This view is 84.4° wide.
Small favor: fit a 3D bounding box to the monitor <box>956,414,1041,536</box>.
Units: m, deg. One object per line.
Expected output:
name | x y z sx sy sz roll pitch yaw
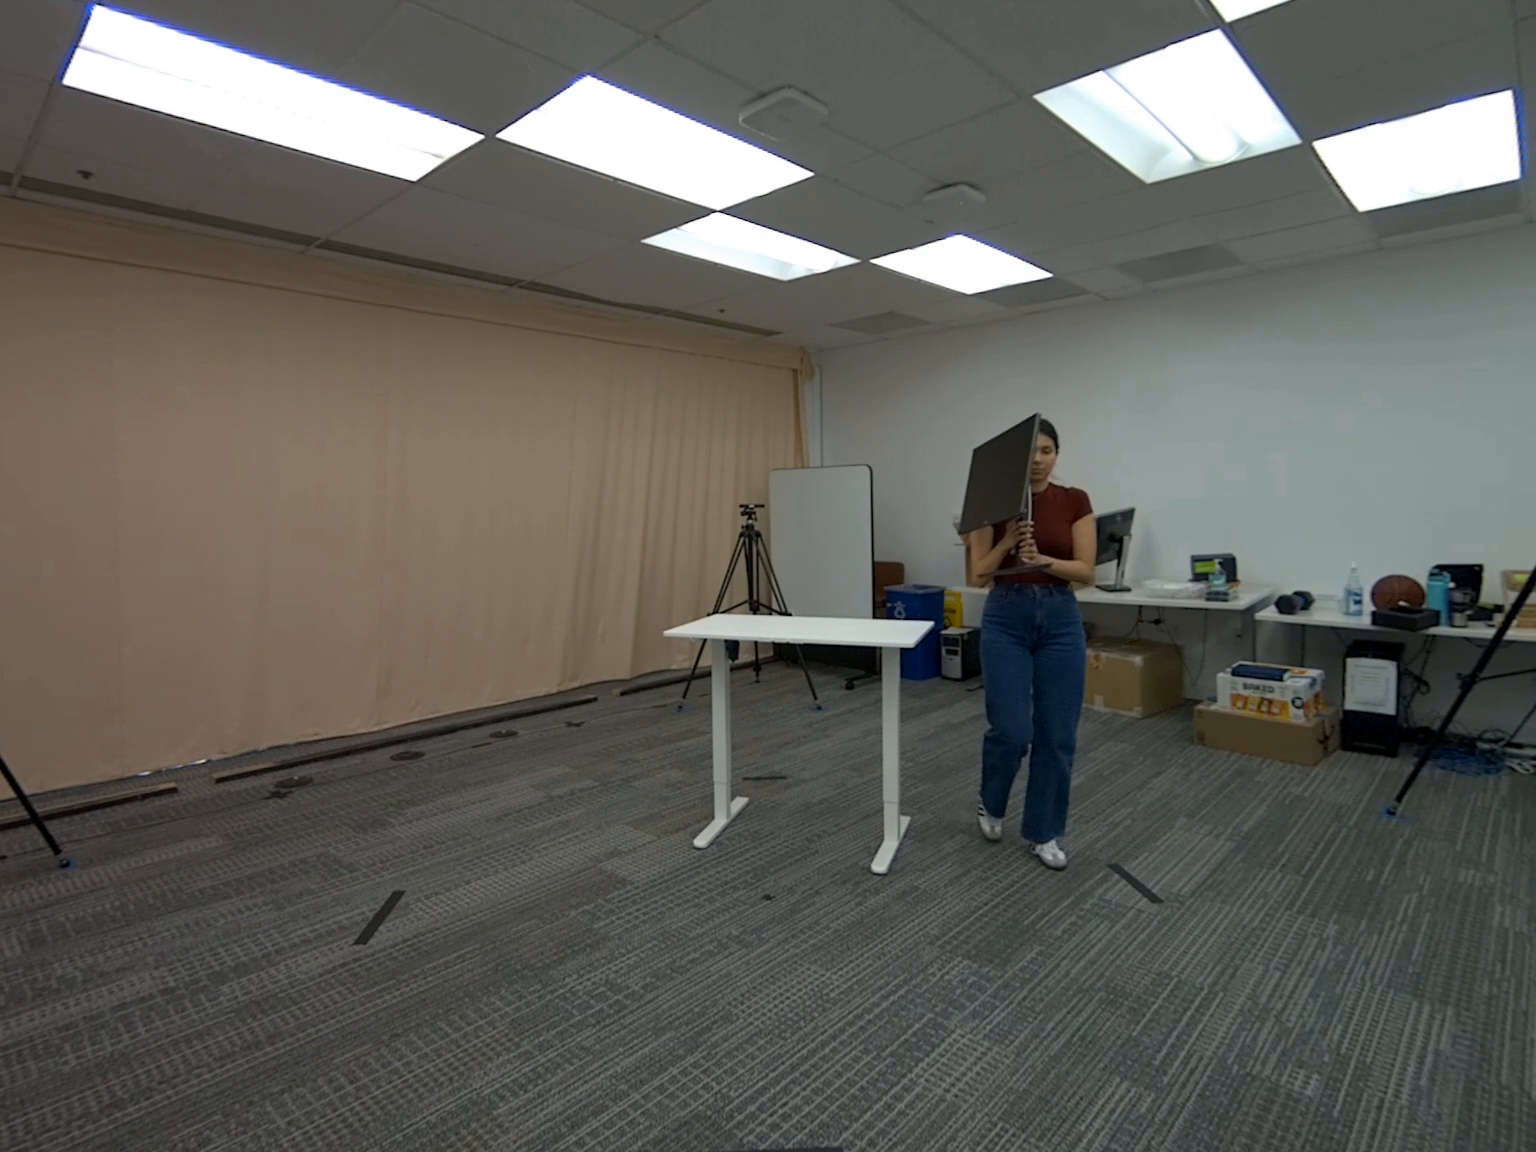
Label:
monitor | 0.869 -0.265 3.053 0.185 0.525 0.542 0 -6 -10
